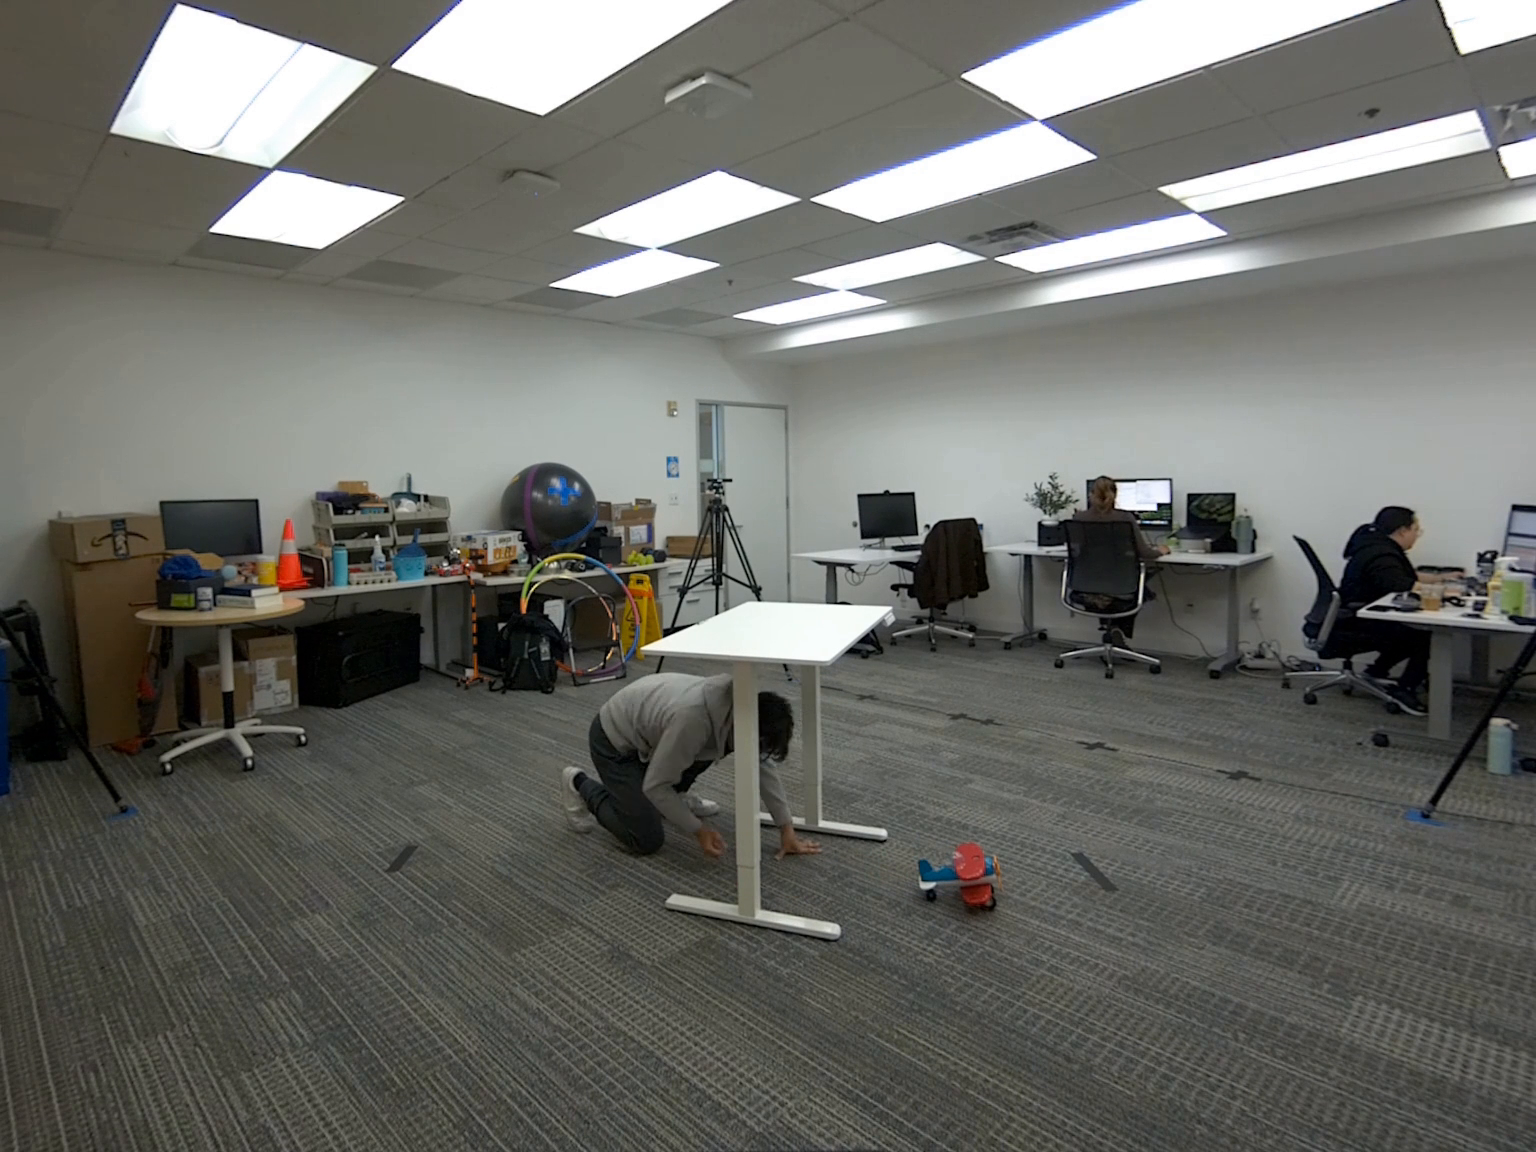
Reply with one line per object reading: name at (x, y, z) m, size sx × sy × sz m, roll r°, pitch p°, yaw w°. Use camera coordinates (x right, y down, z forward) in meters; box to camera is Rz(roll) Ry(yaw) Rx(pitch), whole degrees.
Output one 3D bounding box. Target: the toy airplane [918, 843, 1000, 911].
toy airplane at (0.640, 1.000, 2.785) m, size 0.255 × 0.156 × 0.256 m, roll -1°, pitch 5°, yaw -17°
